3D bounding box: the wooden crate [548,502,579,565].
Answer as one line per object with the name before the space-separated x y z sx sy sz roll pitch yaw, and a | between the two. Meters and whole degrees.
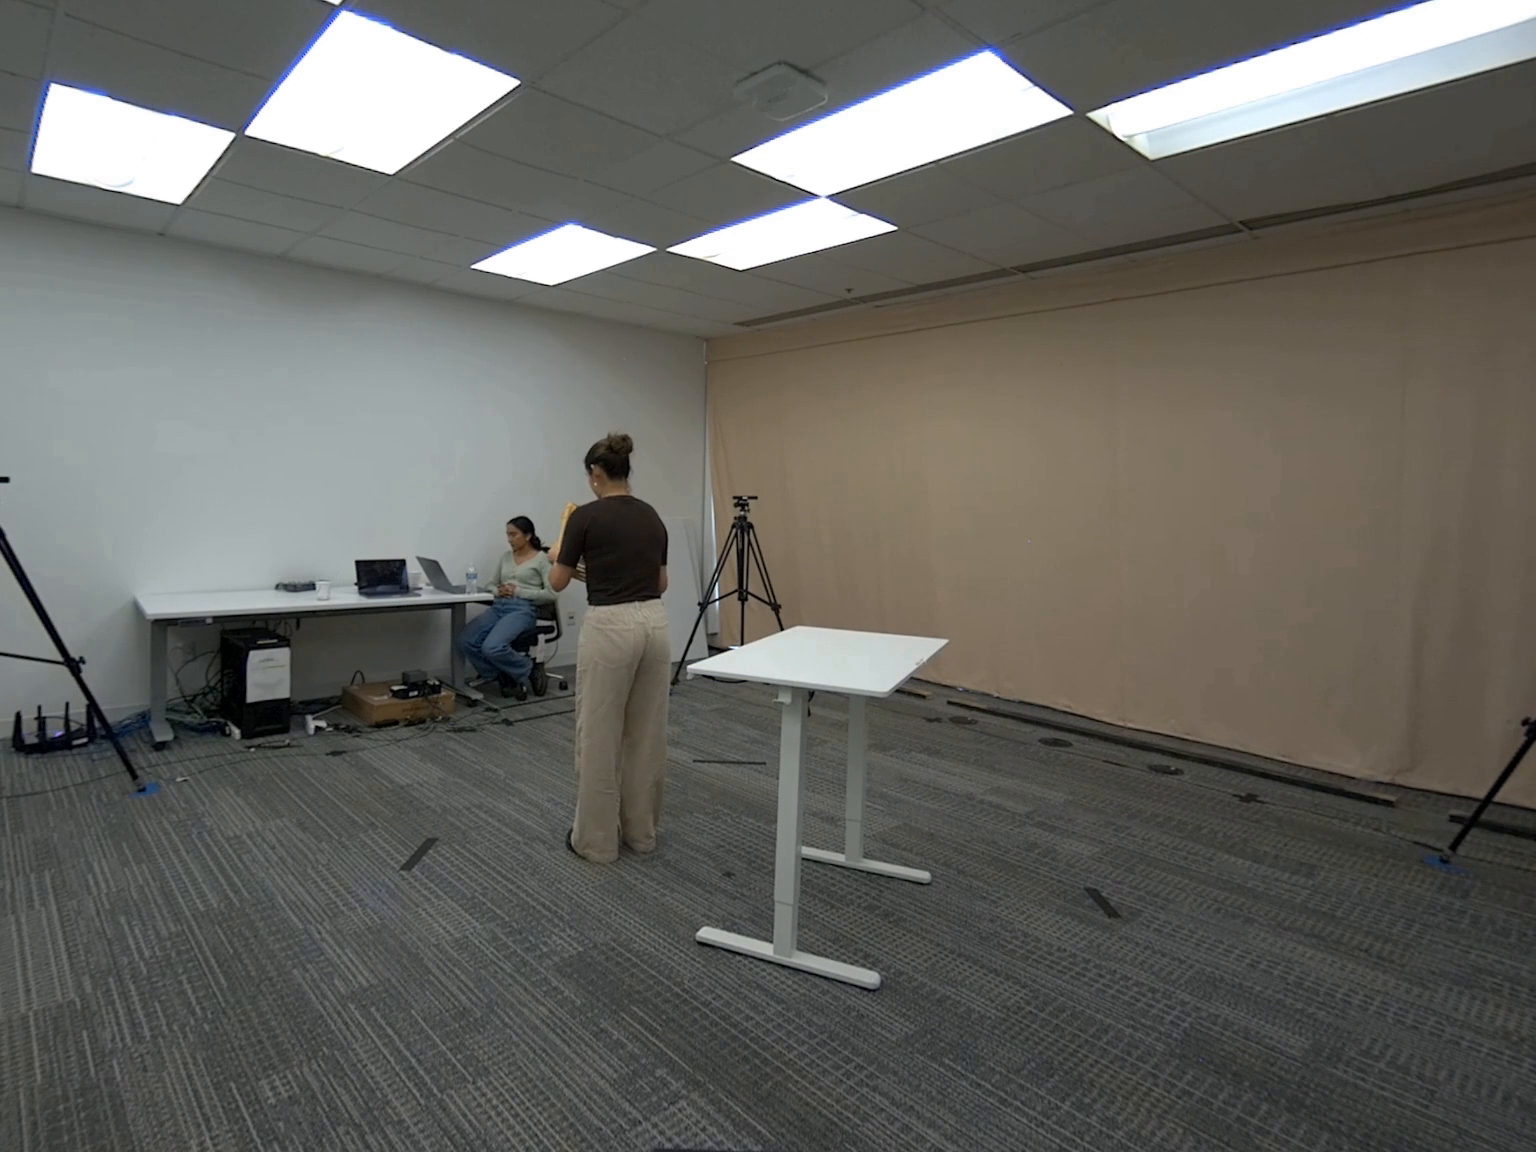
wooden crate | -0.731 -0.114 3.567 0.315 0.273 0.311 23 4 -34
